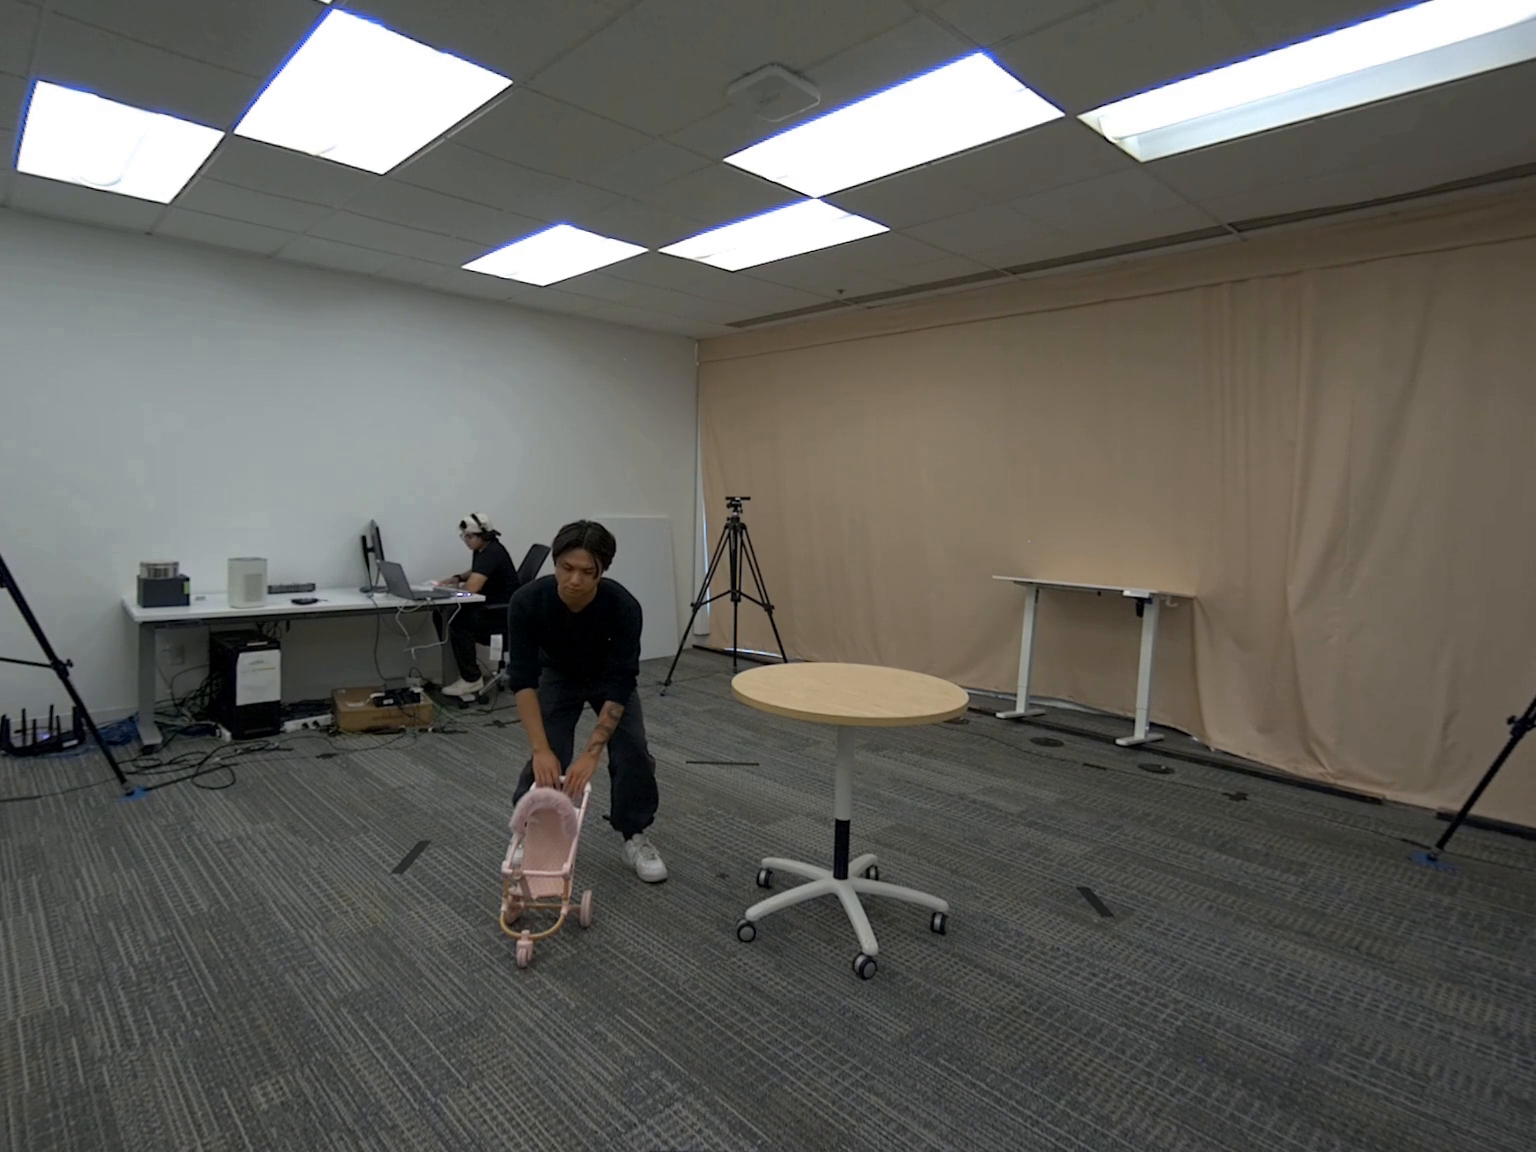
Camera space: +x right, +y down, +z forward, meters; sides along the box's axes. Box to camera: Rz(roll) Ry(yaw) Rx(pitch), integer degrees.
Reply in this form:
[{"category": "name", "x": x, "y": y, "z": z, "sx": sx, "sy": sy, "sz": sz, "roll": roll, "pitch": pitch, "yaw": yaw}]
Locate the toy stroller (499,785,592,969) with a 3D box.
[{"category": "toy stroller", "x": -0.724, "y": 0.920, "z": 2.648, "sx": 0.283, "sy": 0.540, "sz": 0.336, "roll": 1, "pitch": -12, "yaw": 6}]
